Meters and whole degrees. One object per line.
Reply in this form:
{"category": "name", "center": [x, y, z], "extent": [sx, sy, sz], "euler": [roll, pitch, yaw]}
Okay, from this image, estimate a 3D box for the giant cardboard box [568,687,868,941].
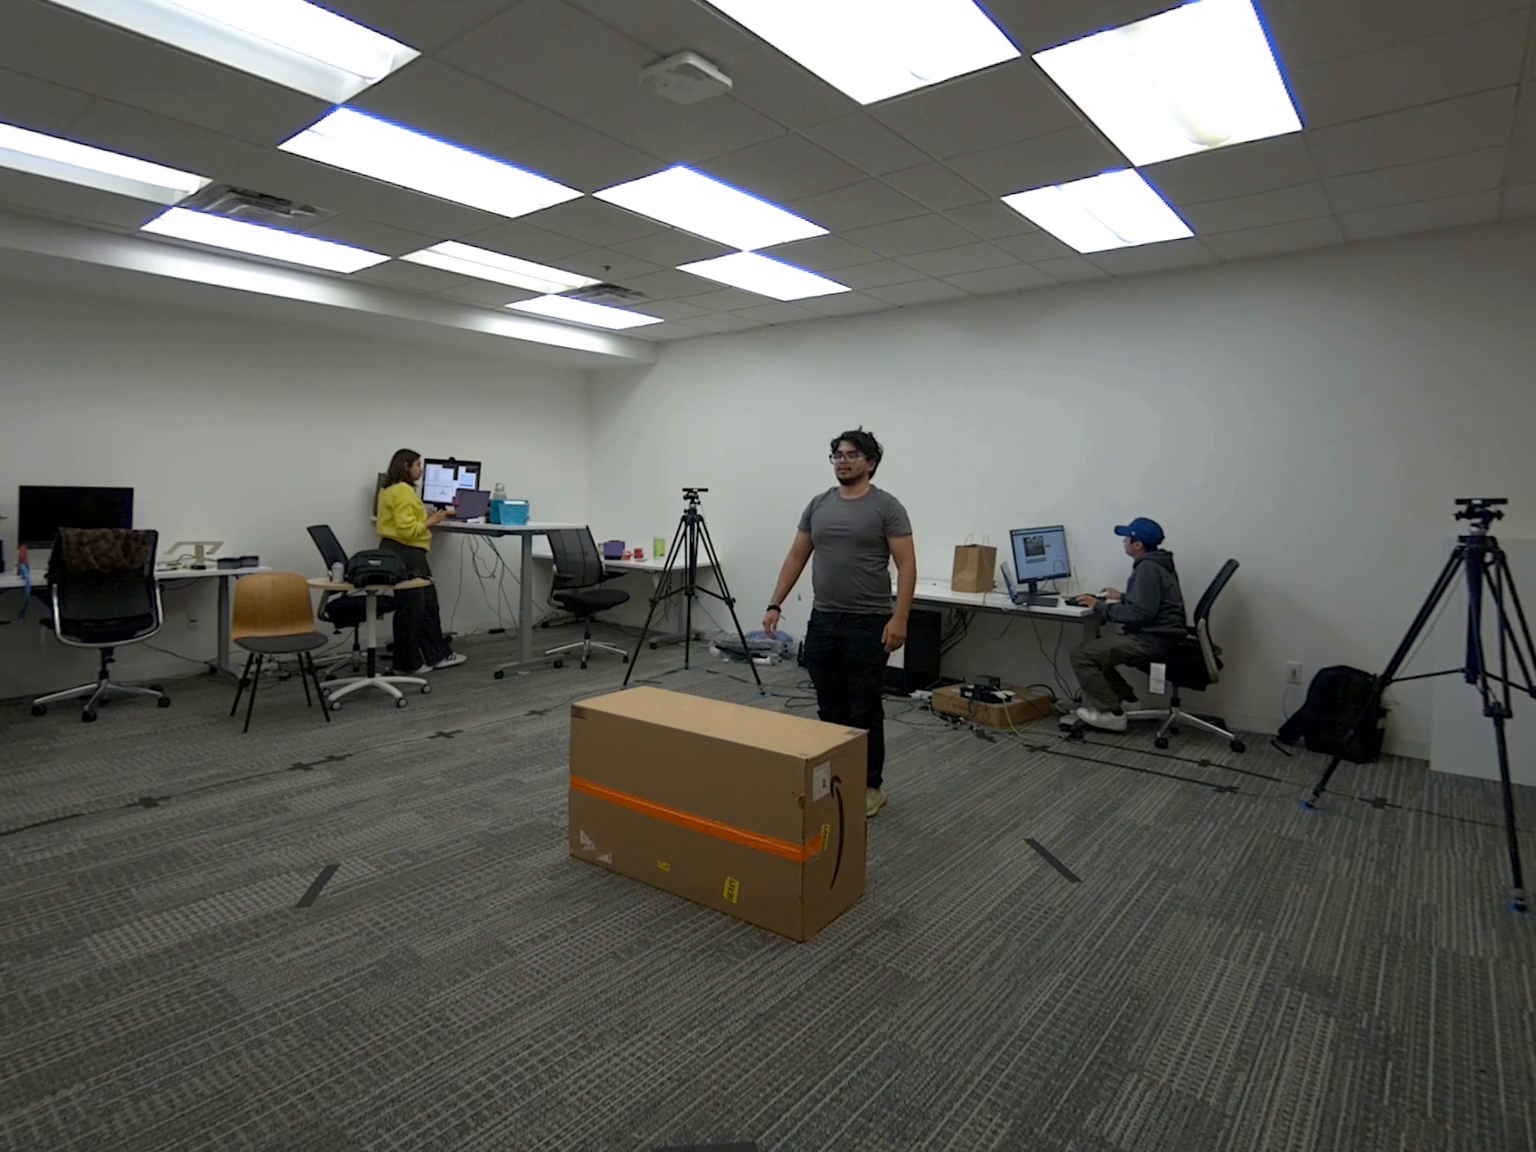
{"category": "giant cardboard box", "center": [-0.213, 0.784, 3.055], "extent": [1.059, 0.575, 0.414], "euler": [4, 5, 35]}
